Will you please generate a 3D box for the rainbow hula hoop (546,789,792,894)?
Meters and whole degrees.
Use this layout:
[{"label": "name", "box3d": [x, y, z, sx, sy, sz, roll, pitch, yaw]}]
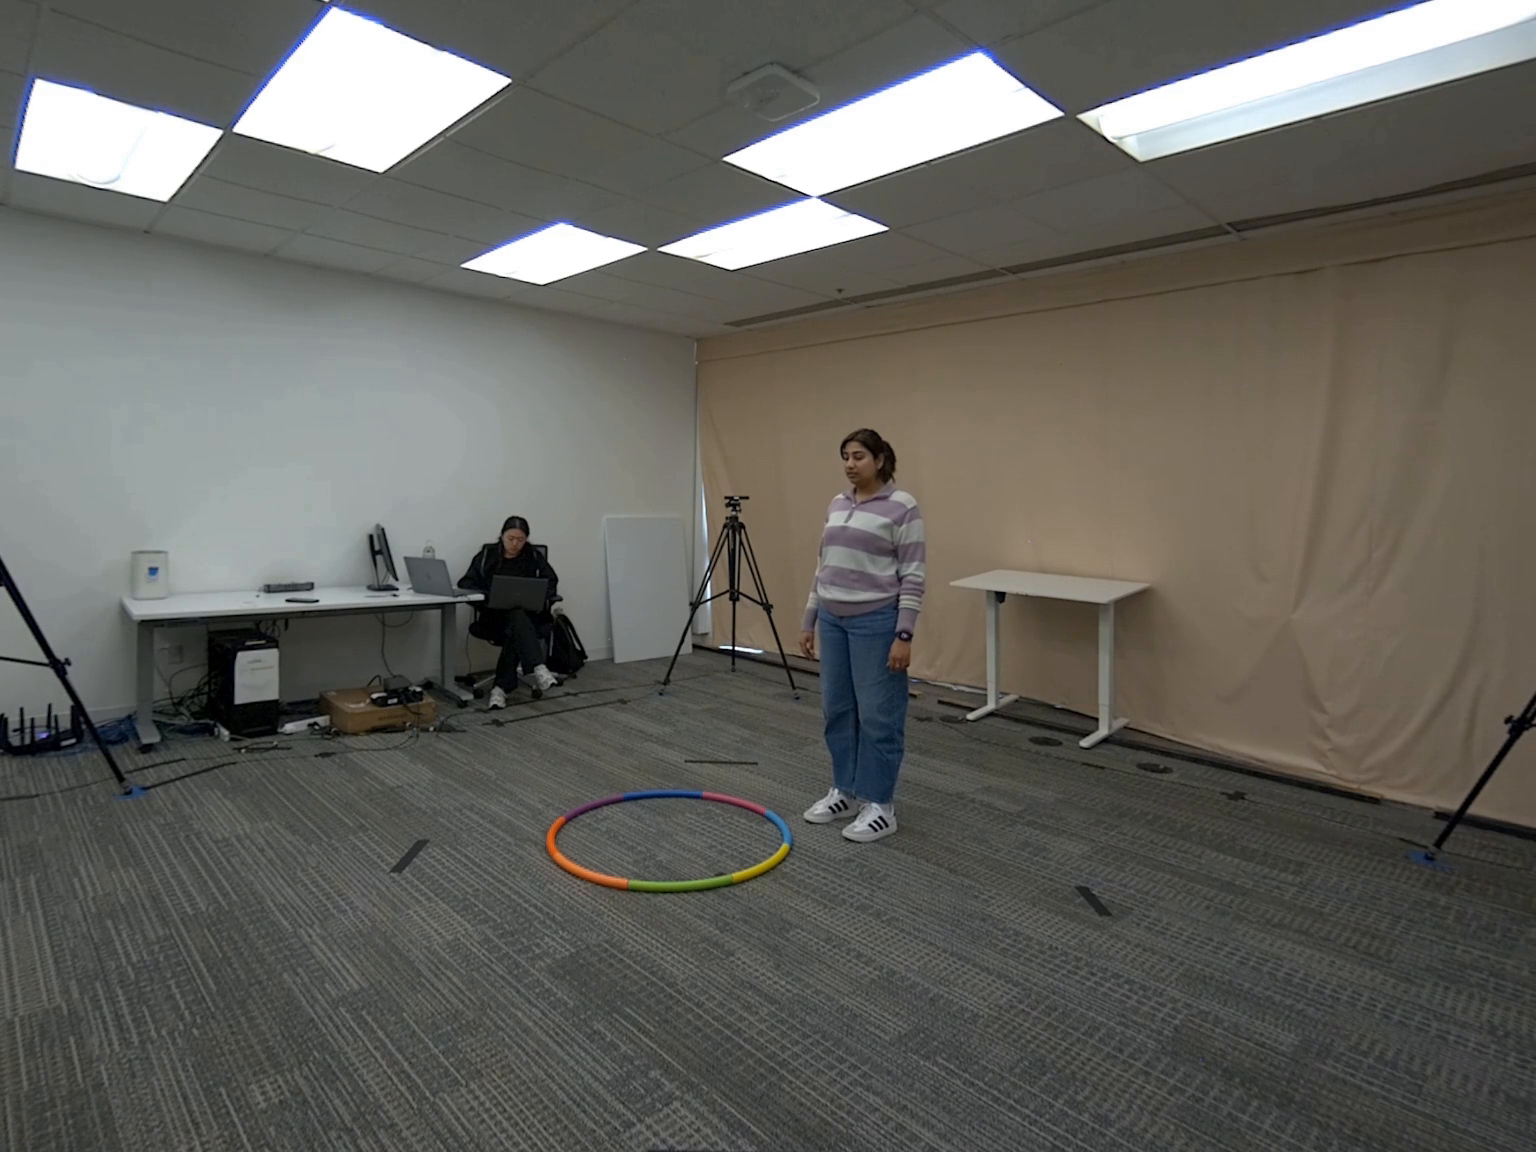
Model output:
[{"label": "rainbow hula hoop", "box3d": [-0.404, 1.043, 3.429, 0.985, 0.051, 0.989, 1, 5, -1]}]
